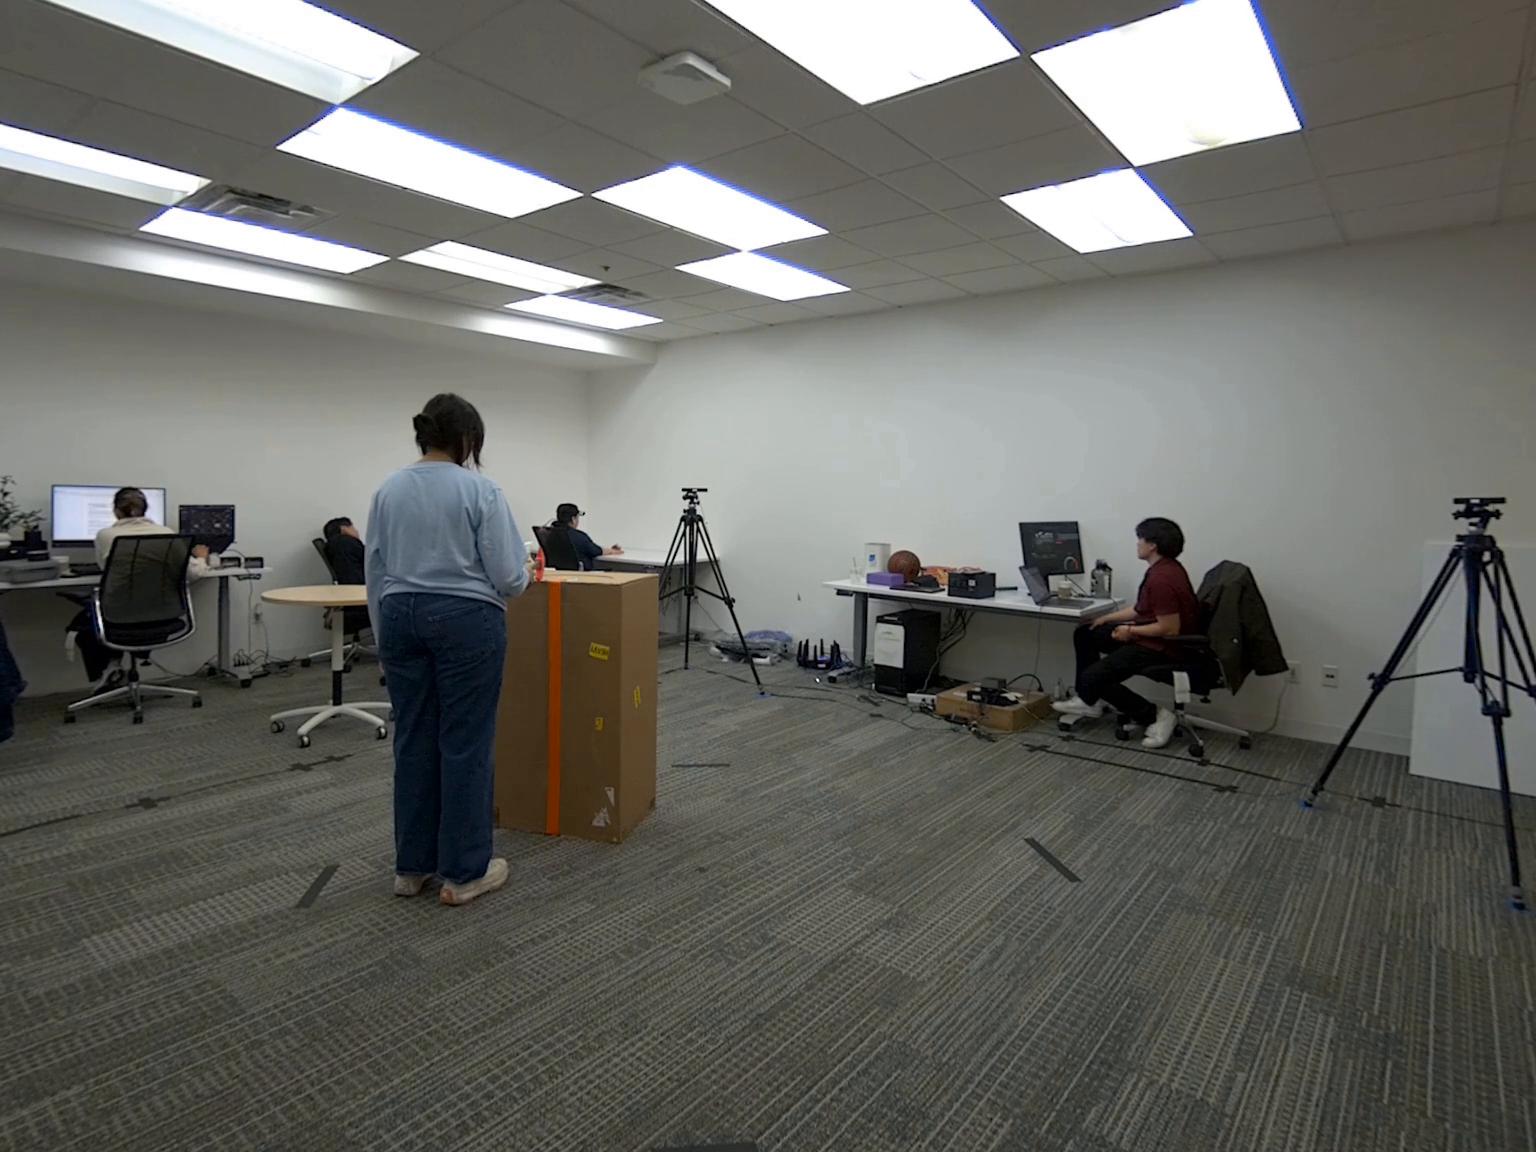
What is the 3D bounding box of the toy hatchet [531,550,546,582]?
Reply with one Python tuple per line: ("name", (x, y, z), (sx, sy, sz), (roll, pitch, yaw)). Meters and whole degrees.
("toy hatchet", (-0.920, -0.005, 3.283), (0.029, 0.128, 0.277), (2, 27, -7))
